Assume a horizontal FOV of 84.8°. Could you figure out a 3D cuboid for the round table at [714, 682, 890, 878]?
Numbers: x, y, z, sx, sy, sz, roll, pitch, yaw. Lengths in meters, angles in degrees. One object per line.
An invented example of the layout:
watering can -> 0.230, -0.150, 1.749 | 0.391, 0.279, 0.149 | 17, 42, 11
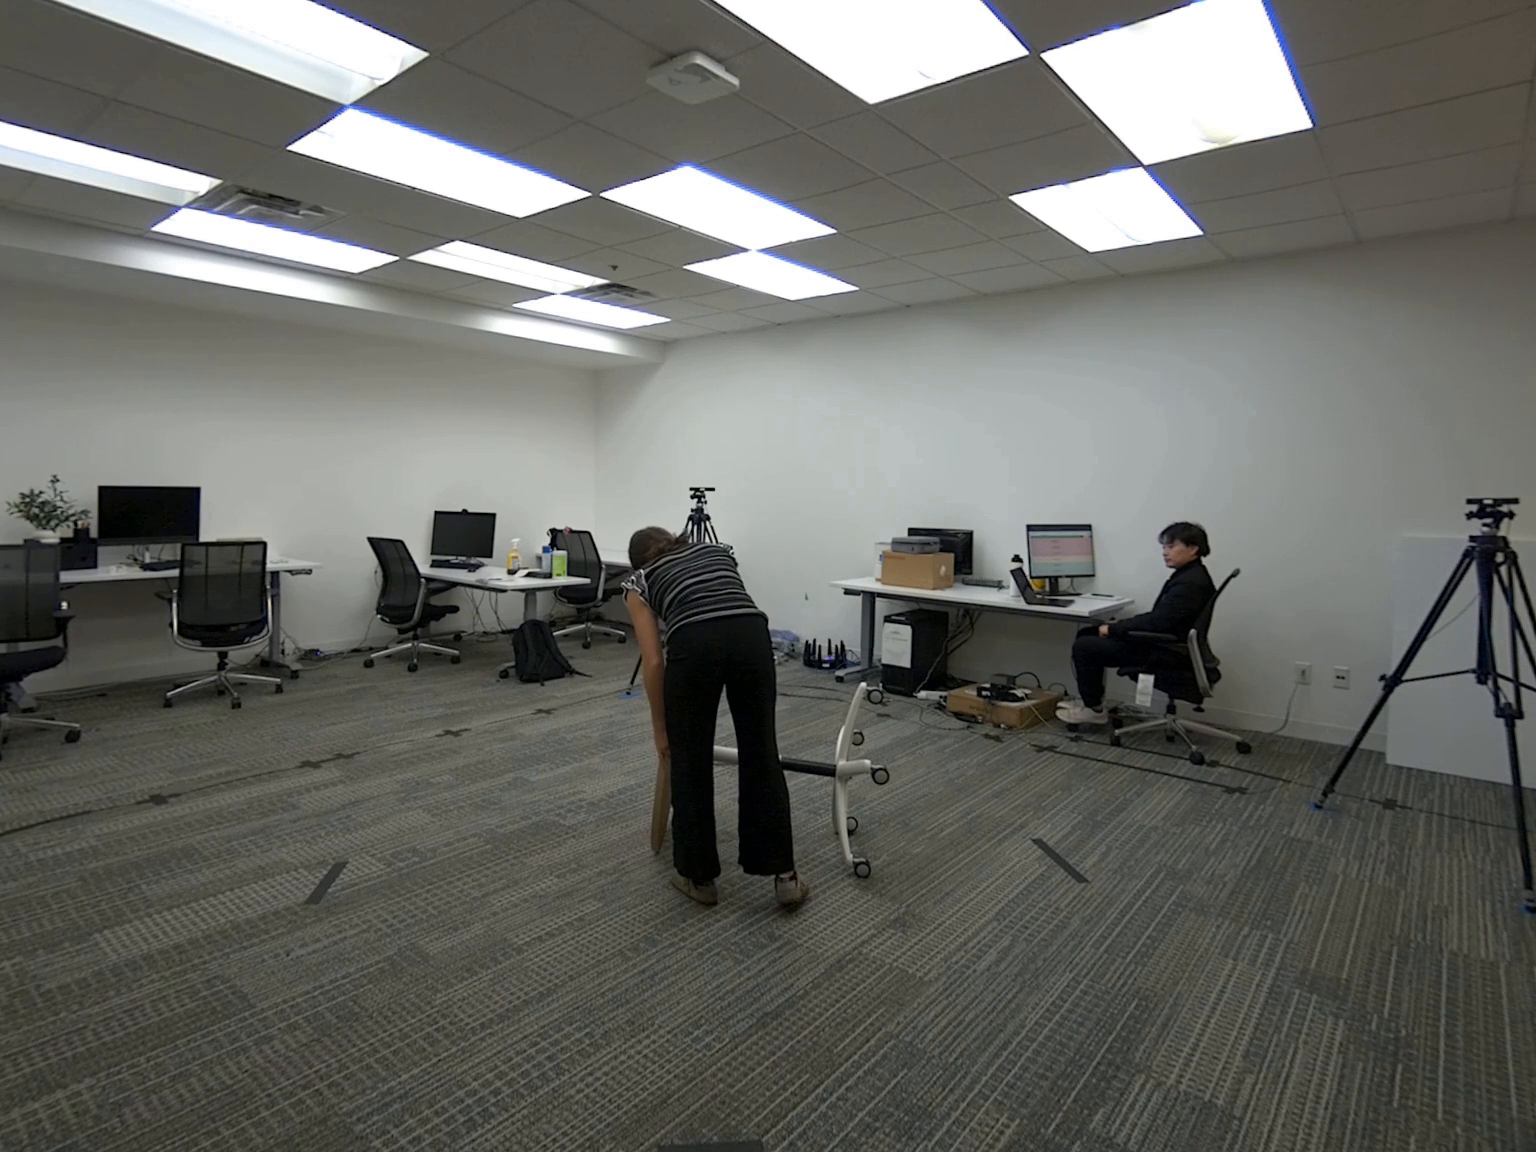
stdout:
round table -> 0.002, 0.720, 3.298 | 0.796, 0.762, 0.765 | 7, 4, 1
